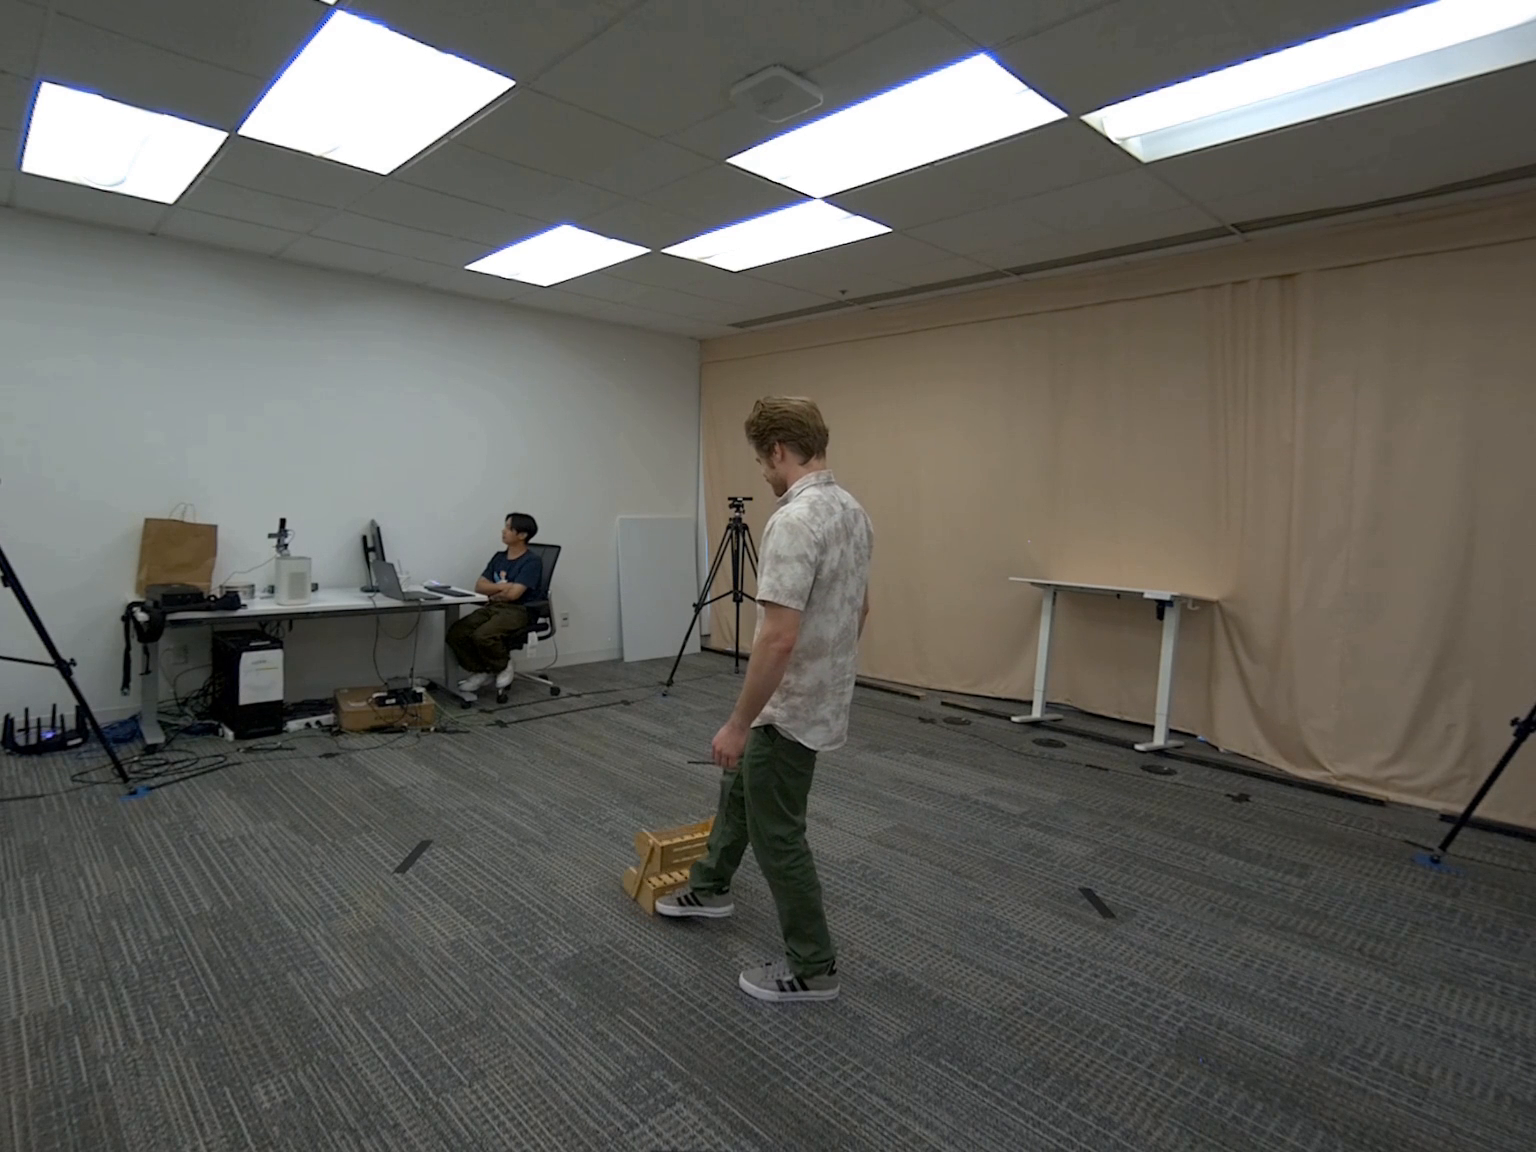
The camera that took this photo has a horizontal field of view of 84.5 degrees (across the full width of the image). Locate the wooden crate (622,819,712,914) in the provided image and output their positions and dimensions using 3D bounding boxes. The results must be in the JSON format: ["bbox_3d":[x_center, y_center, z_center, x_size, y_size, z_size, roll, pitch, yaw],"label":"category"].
[{"bbox_3d":[-0.316,0.983,2.947,0.317,0.272,0.309,-2,6,-33],"label":"wooden crate"}]
